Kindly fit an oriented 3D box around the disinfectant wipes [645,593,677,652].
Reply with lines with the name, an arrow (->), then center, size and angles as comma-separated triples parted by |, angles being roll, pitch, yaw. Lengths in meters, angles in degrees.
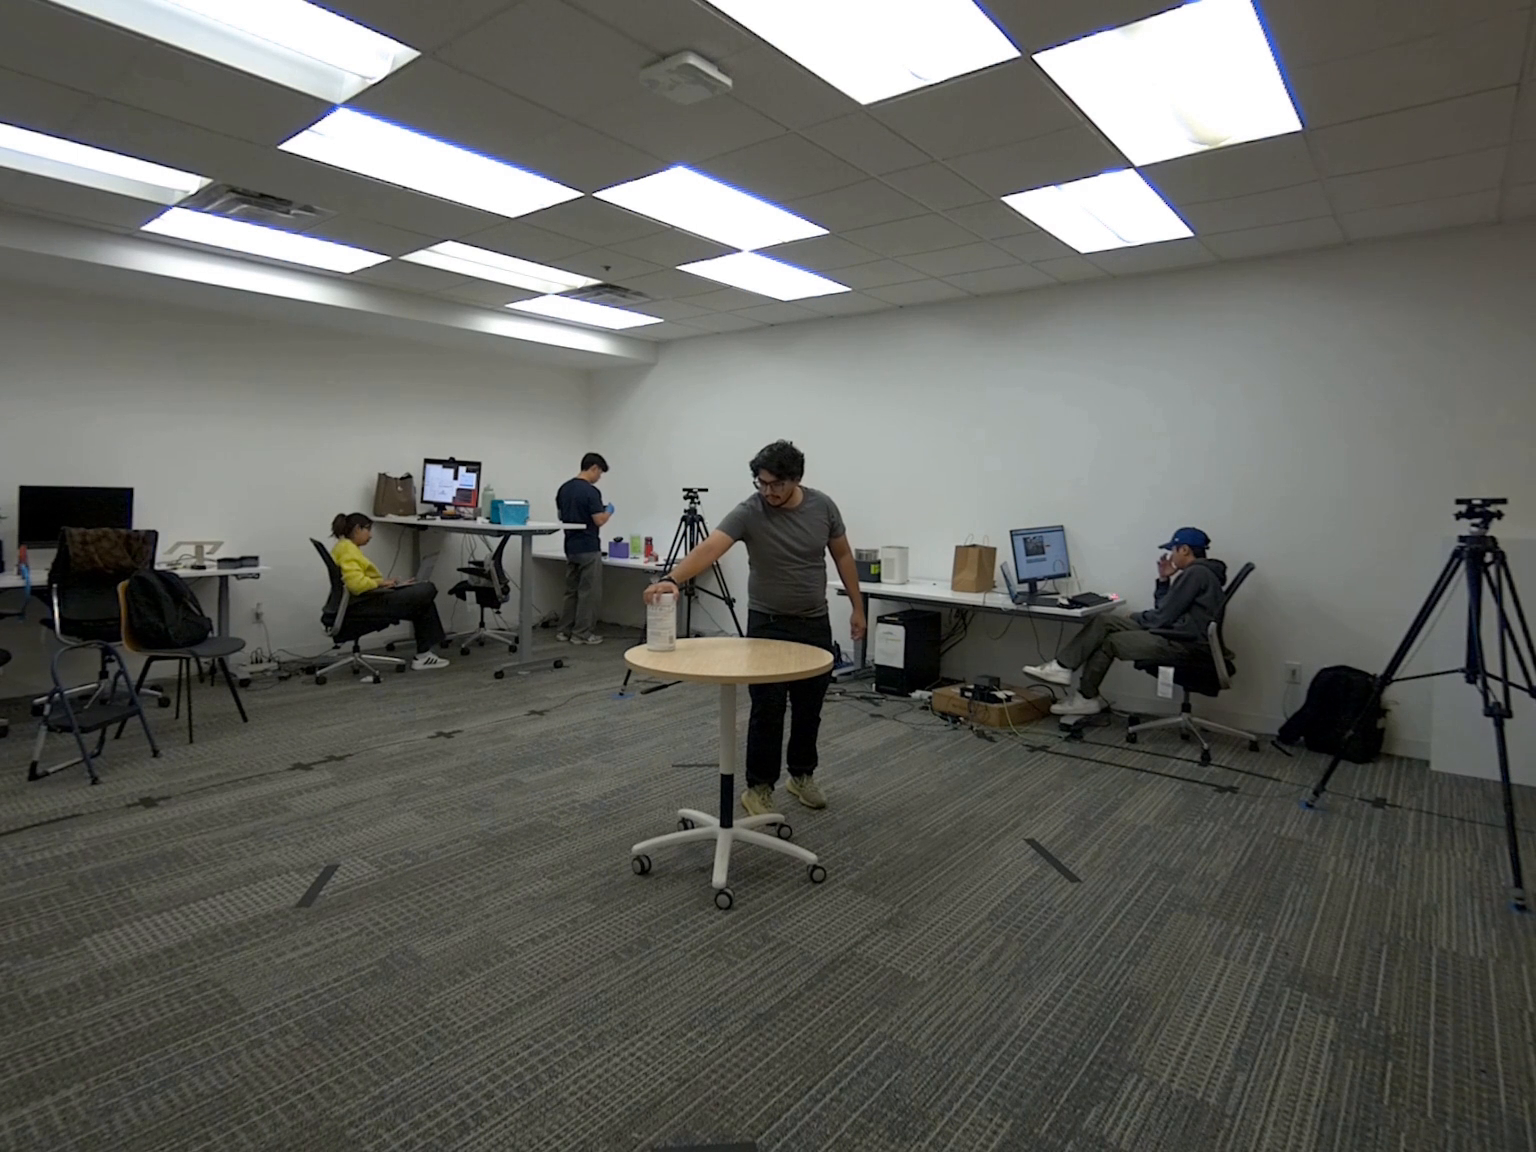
disinfectant wipes -> -0.408, 0.168, 3.223 | 0.118, 0.217, 0.118 | -1, 1, -2
